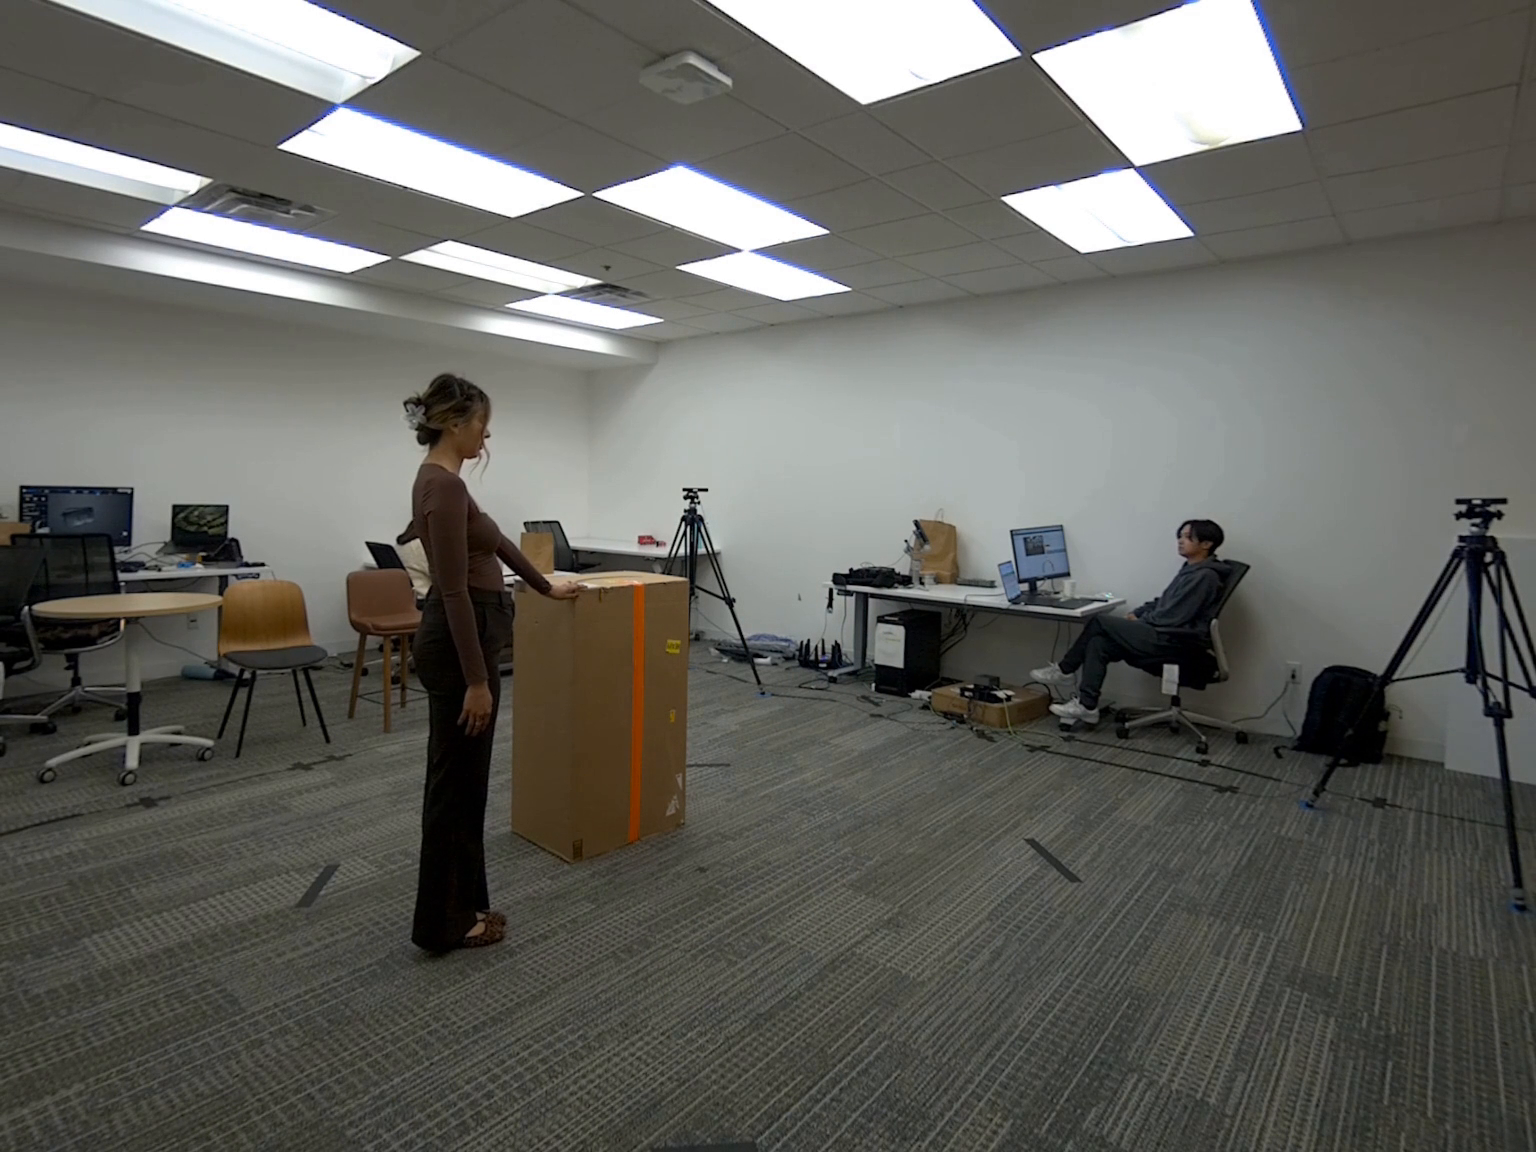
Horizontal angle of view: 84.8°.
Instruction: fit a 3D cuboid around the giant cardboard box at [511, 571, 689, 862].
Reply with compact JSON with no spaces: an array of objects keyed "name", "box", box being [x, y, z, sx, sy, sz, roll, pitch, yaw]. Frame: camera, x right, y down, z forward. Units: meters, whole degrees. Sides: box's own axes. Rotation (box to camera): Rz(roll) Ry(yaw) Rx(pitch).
[{"name":"giant cardboard box","box":[-0.688,0.519,3.455,0.462,1.024,0.566,5,5,45]}]
